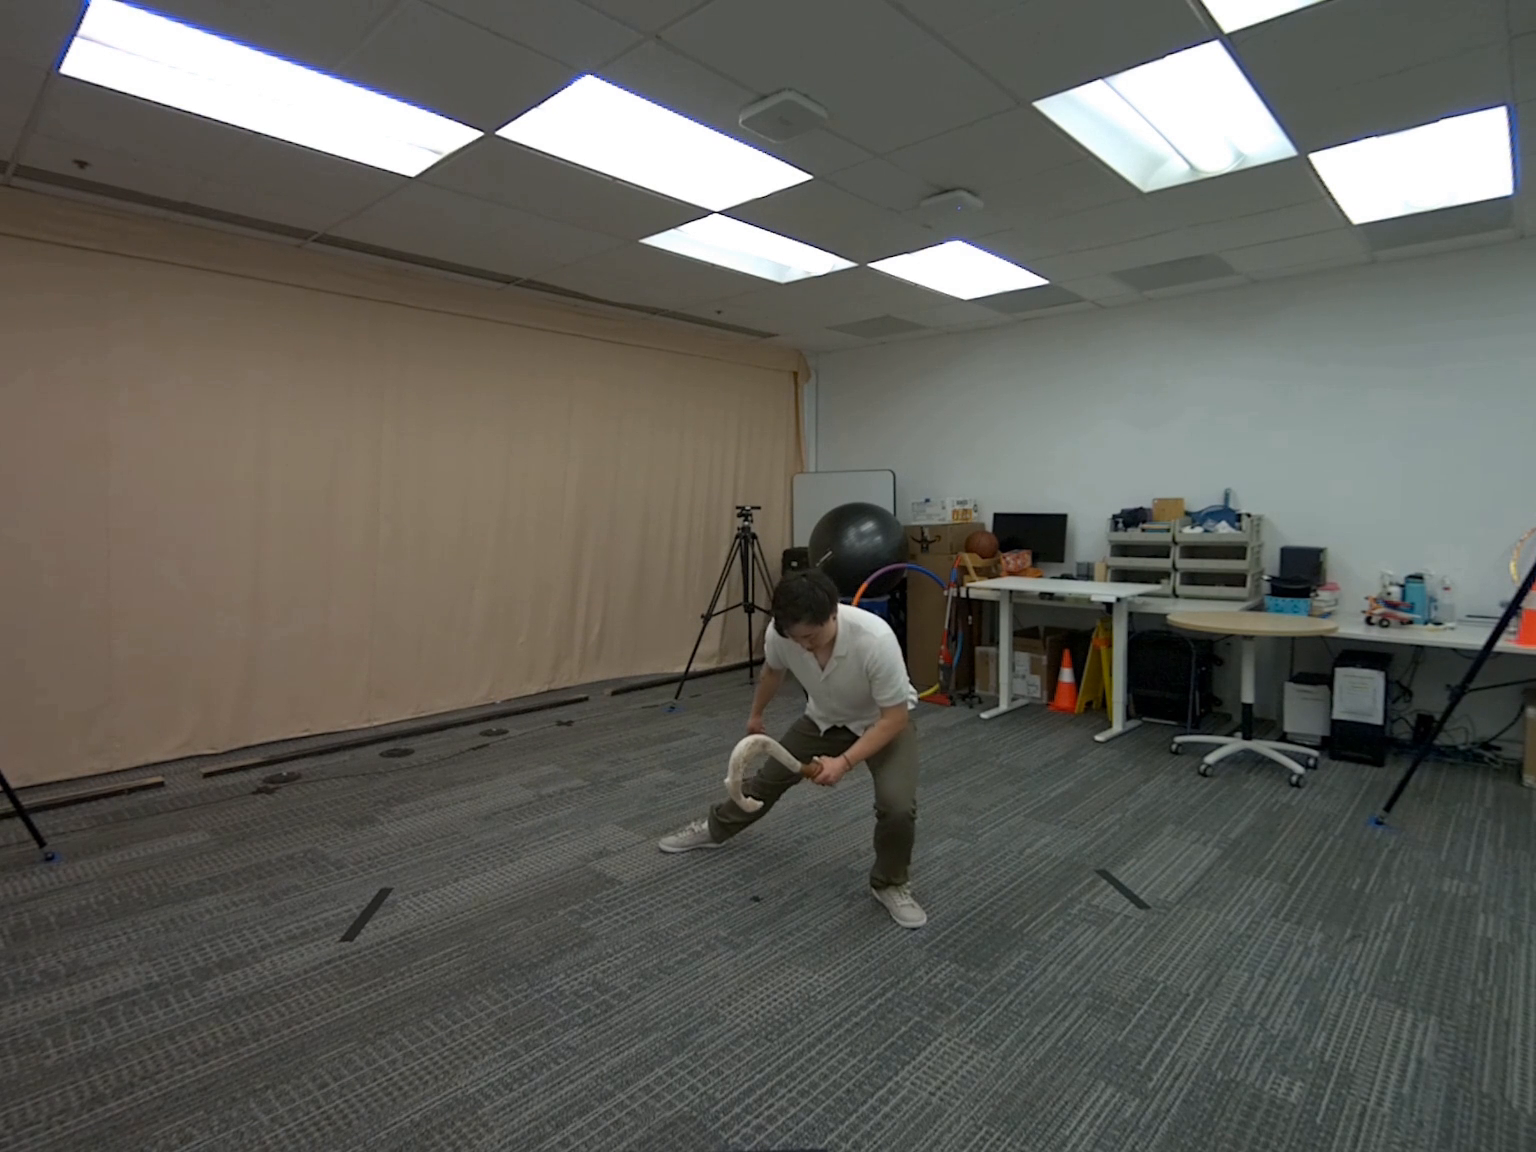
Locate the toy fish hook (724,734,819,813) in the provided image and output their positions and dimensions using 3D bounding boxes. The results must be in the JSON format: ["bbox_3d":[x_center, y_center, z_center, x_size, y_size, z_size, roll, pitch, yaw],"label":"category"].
[{"bbox_3d":[0.044,0.630,2.597,0.488,0.225,0.050,28,-9,-42],"label":"toy fish hook"}]
